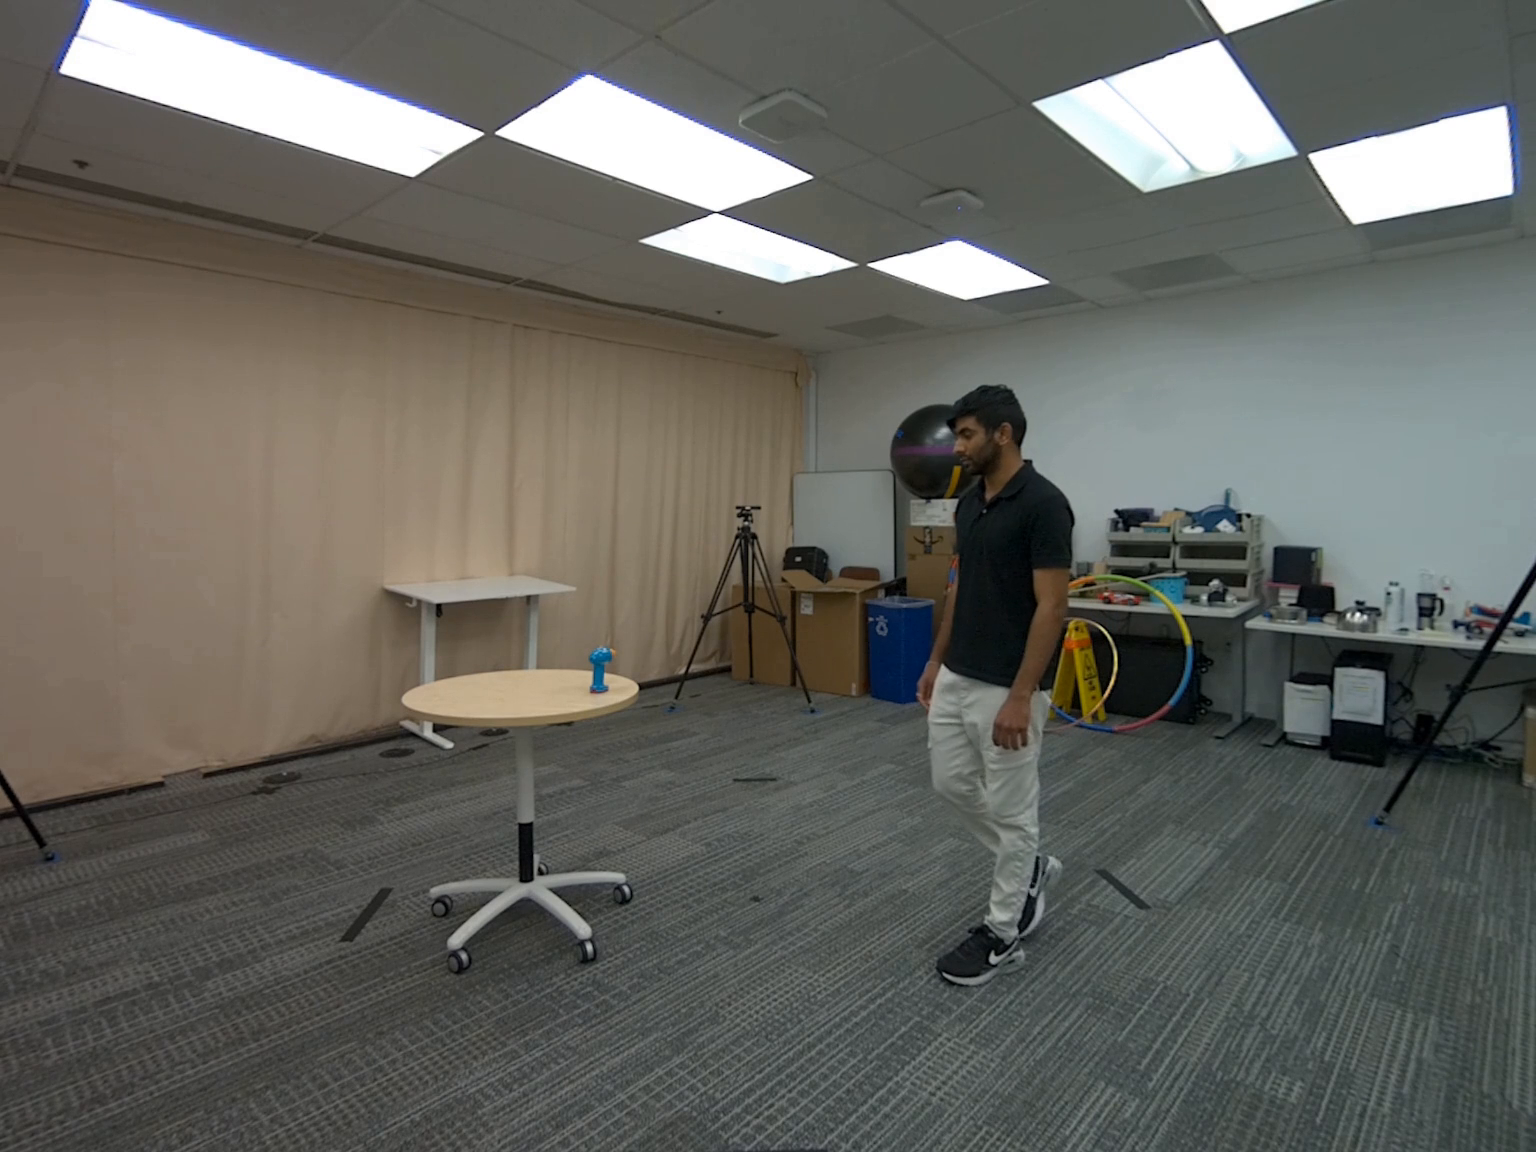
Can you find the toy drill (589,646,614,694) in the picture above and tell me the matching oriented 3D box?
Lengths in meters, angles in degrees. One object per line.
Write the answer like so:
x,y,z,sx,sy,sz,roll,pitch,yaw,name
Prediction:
-0.552,0.308,2.814,0.062,0.146,0.168,4,4,7,toy drill
